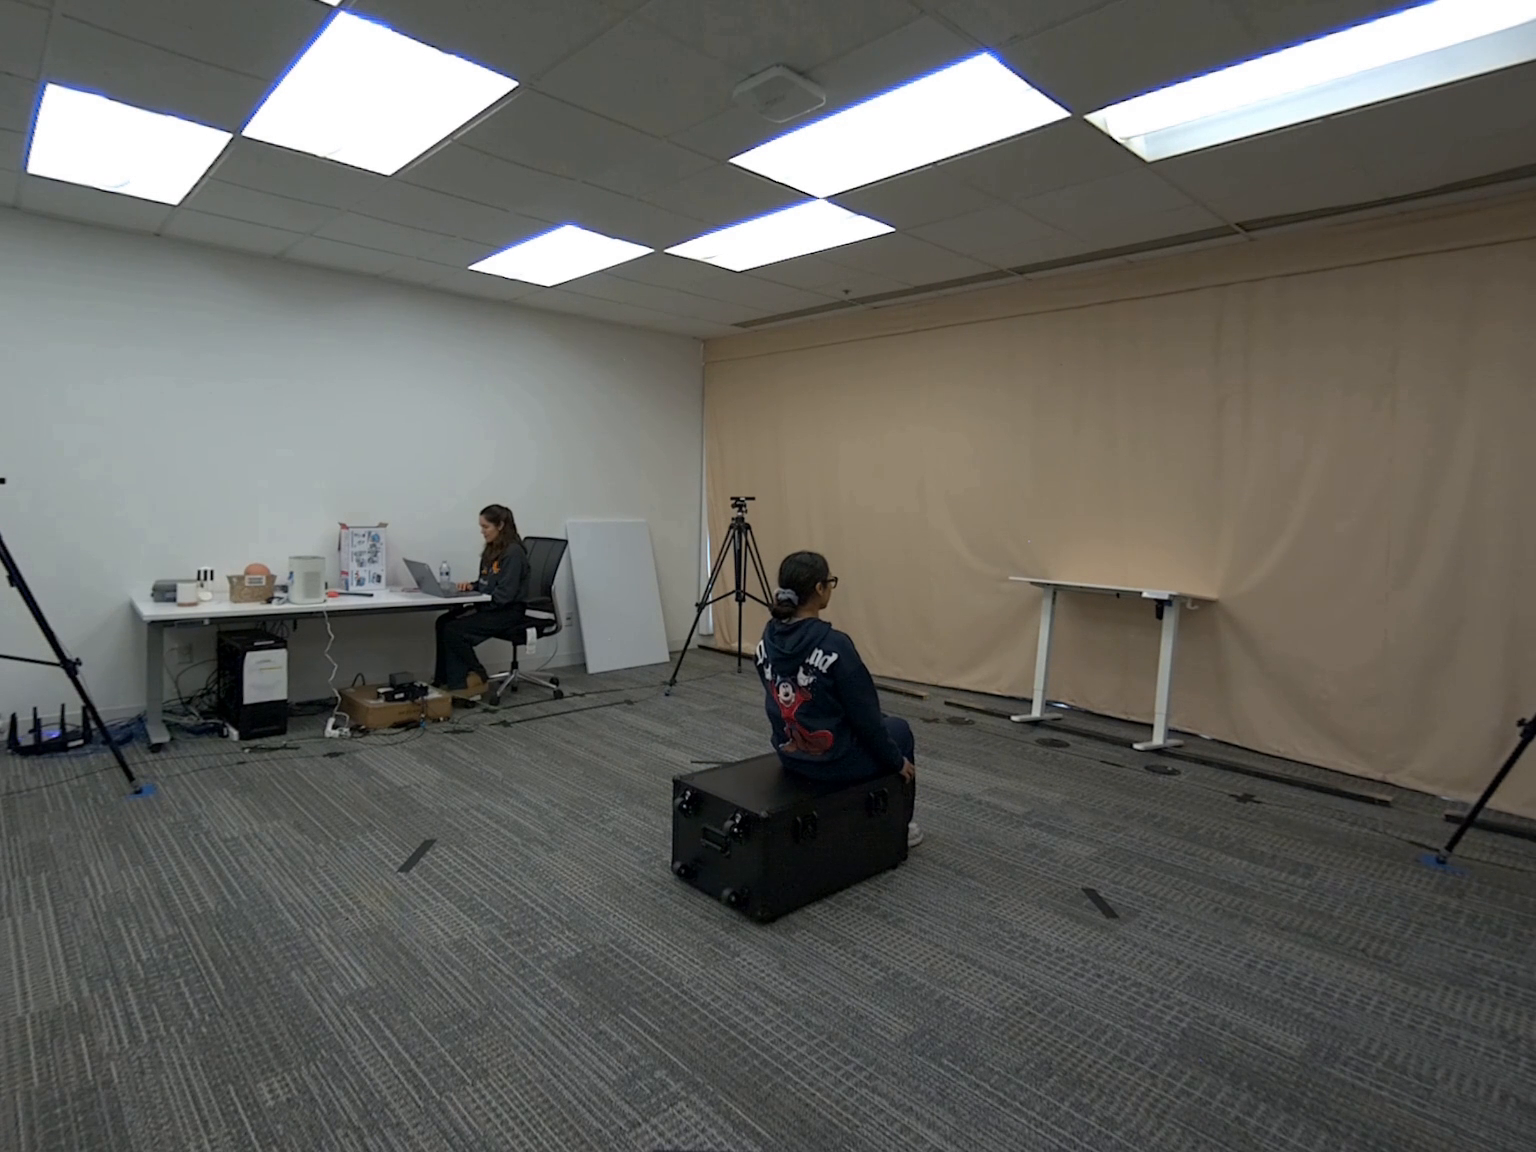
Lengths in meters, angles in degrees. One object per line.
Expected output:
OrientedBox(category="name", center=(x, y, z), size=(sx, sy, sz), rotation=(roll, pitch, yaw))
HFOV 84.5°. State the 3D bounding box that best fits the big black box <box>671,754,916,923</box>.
OrientedBox(category="big black box", center=(0.061, 0.923, 3.123), size=(0.841, 0.395, 0.534), rotation=(-1, 5, -44))
